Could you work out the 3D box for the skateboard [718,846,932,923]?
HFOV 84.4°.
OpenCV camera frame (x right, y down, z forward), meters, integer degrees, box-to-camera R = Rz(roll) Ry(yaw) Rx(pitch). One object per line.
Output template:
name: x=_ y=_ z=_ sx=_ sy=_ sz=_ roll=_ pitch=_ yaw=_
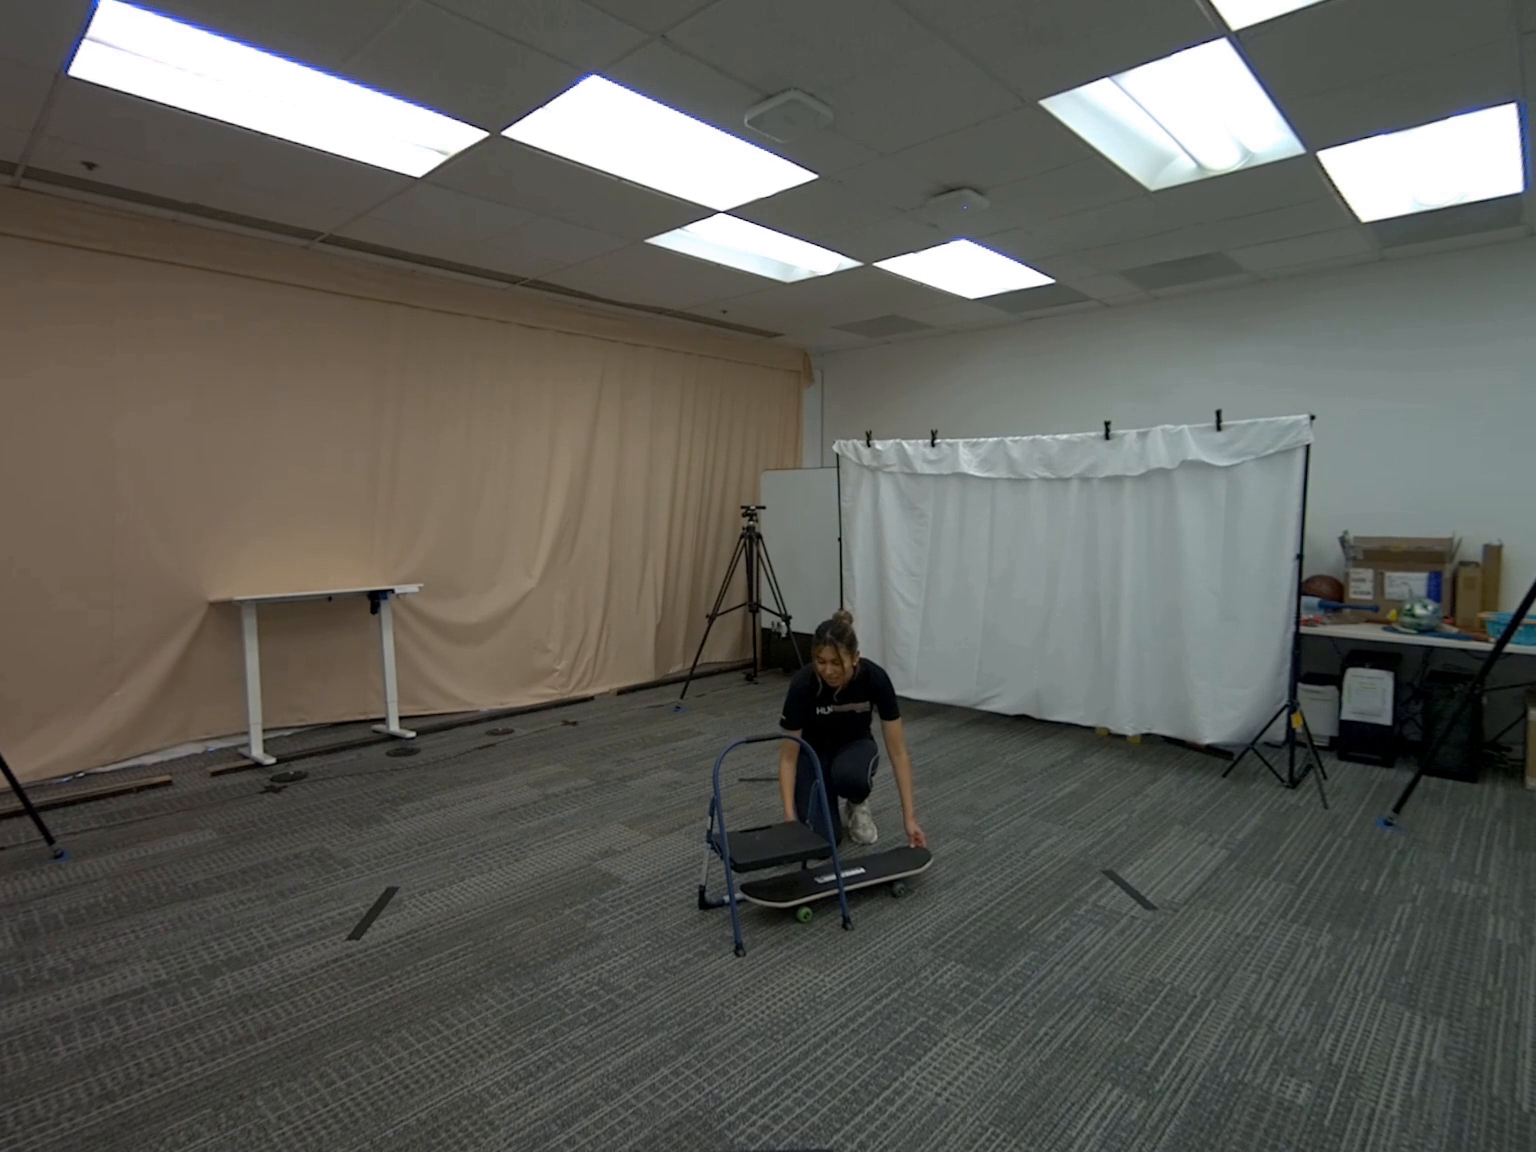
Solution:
skateboard: x=0.247 y=1.078 z=2.970 sx=0.766 sy=0.110 sz=0.199 roll=-2 pitch=4 yaw=-27
